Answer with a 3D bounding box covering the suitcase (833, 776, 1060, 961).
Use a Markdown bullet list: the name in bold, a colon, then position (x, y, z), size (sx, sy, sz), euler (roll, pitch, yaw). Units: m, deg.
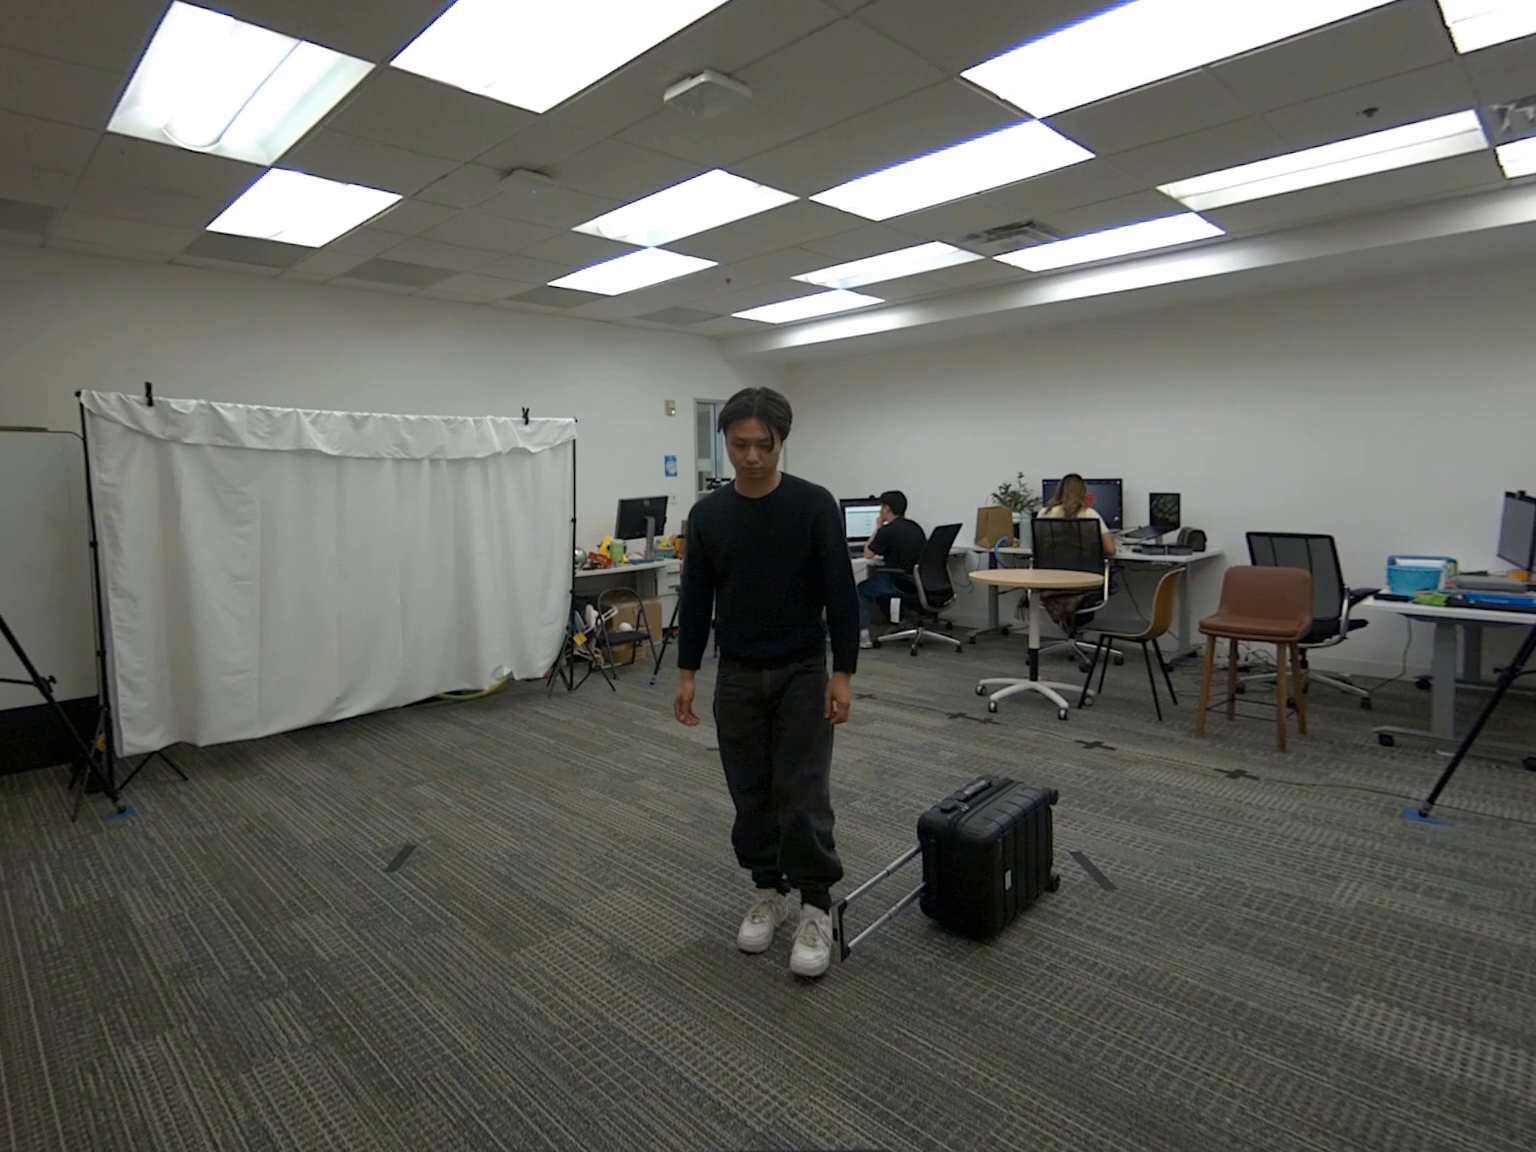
- **suitcase**: position (0.588, 0.904, 2.594), size (0.264, 0.382, 0.955), euler (0, 6, 39)
